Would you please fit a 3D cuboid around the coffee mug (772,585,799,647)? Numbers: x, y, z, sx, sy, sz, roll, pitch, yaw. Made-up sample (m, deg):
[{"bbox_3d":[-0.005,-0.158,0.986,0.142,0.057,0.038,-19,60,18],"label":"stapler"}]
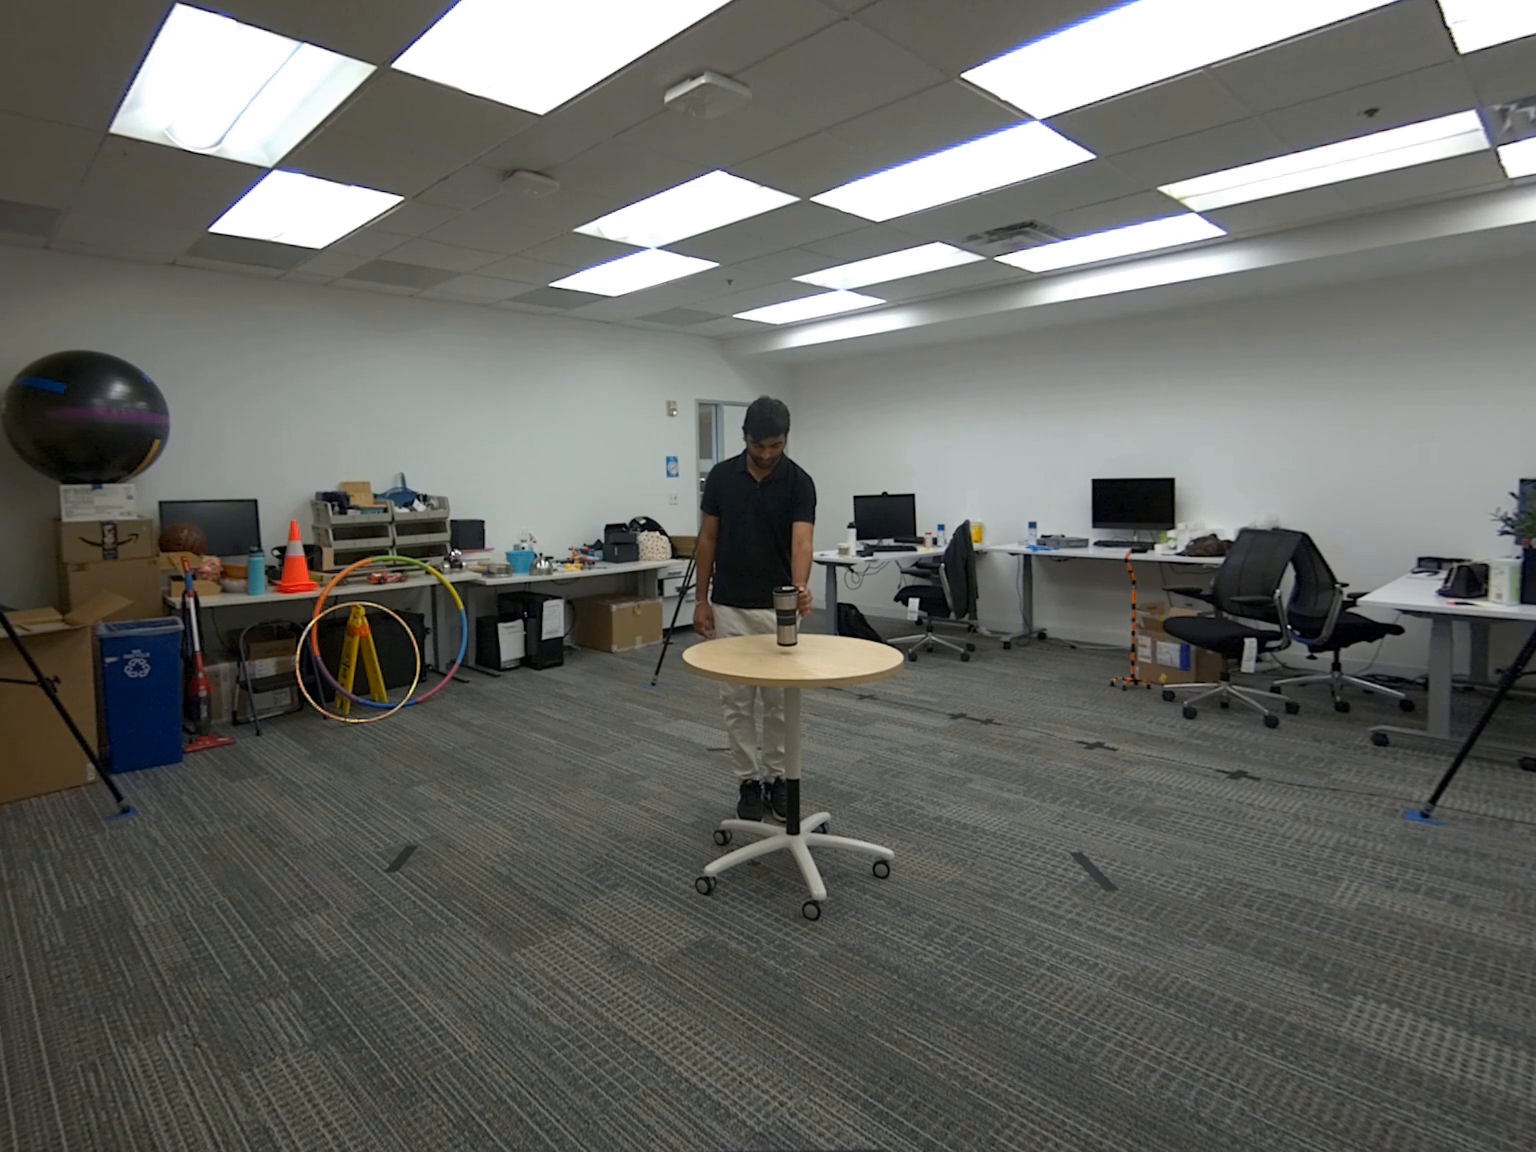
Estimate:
[{"bbox_3d":[0.084,0.140,2.987,0.119,0.202,0.090,-13,7,-33],"label":"coffee mug"}]
